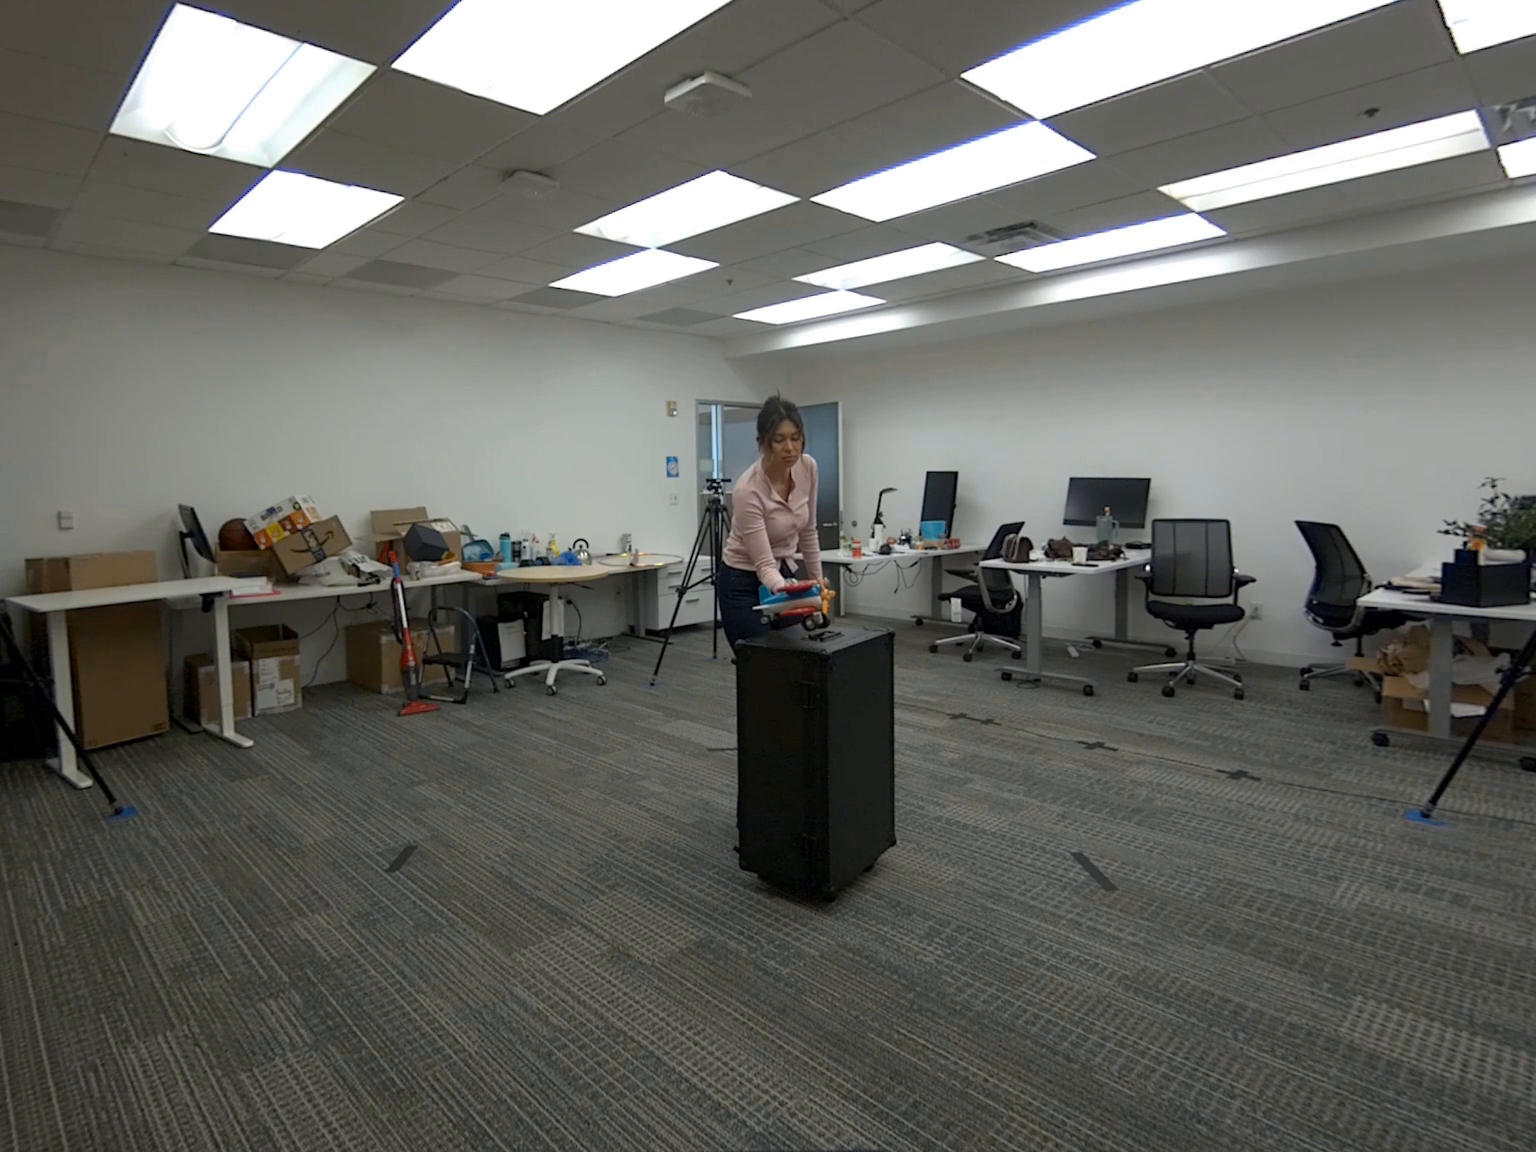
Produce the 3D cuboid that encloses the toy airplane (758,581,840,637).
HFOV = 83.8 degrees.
[{"bbox_3d":[0.093,0.100,2.806,0.260,0.156,0.250,2,1,3],"label":"toy airplane"}]
